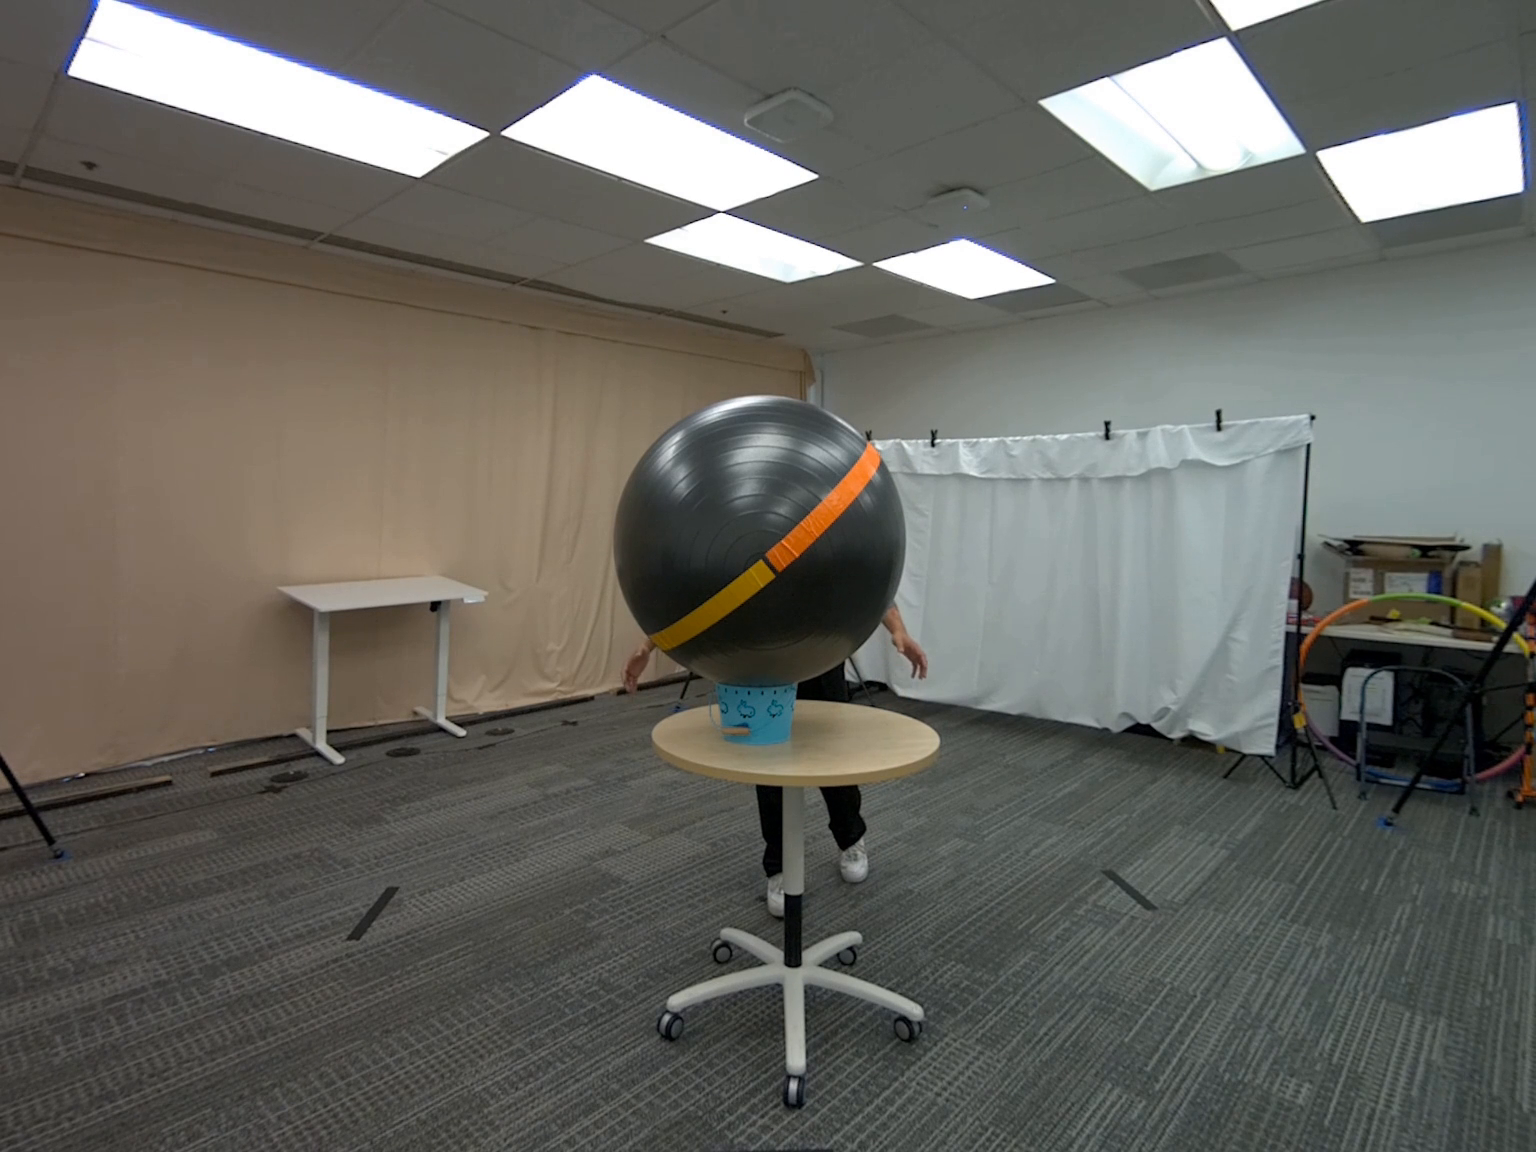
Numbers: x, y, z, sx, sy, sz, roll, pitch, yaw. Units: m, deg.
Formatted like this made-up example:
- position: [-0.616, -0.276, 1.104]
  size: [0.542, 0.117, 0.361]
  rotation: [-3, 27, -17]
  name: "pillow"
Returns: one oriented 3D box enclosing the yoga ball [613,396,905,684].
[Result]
- position: [-0.022, -0.087, 2.201]
  size: [0.757, 0.756, 0.760]
  rotation: [0, 4, -2]
  name: "yoga ball"
